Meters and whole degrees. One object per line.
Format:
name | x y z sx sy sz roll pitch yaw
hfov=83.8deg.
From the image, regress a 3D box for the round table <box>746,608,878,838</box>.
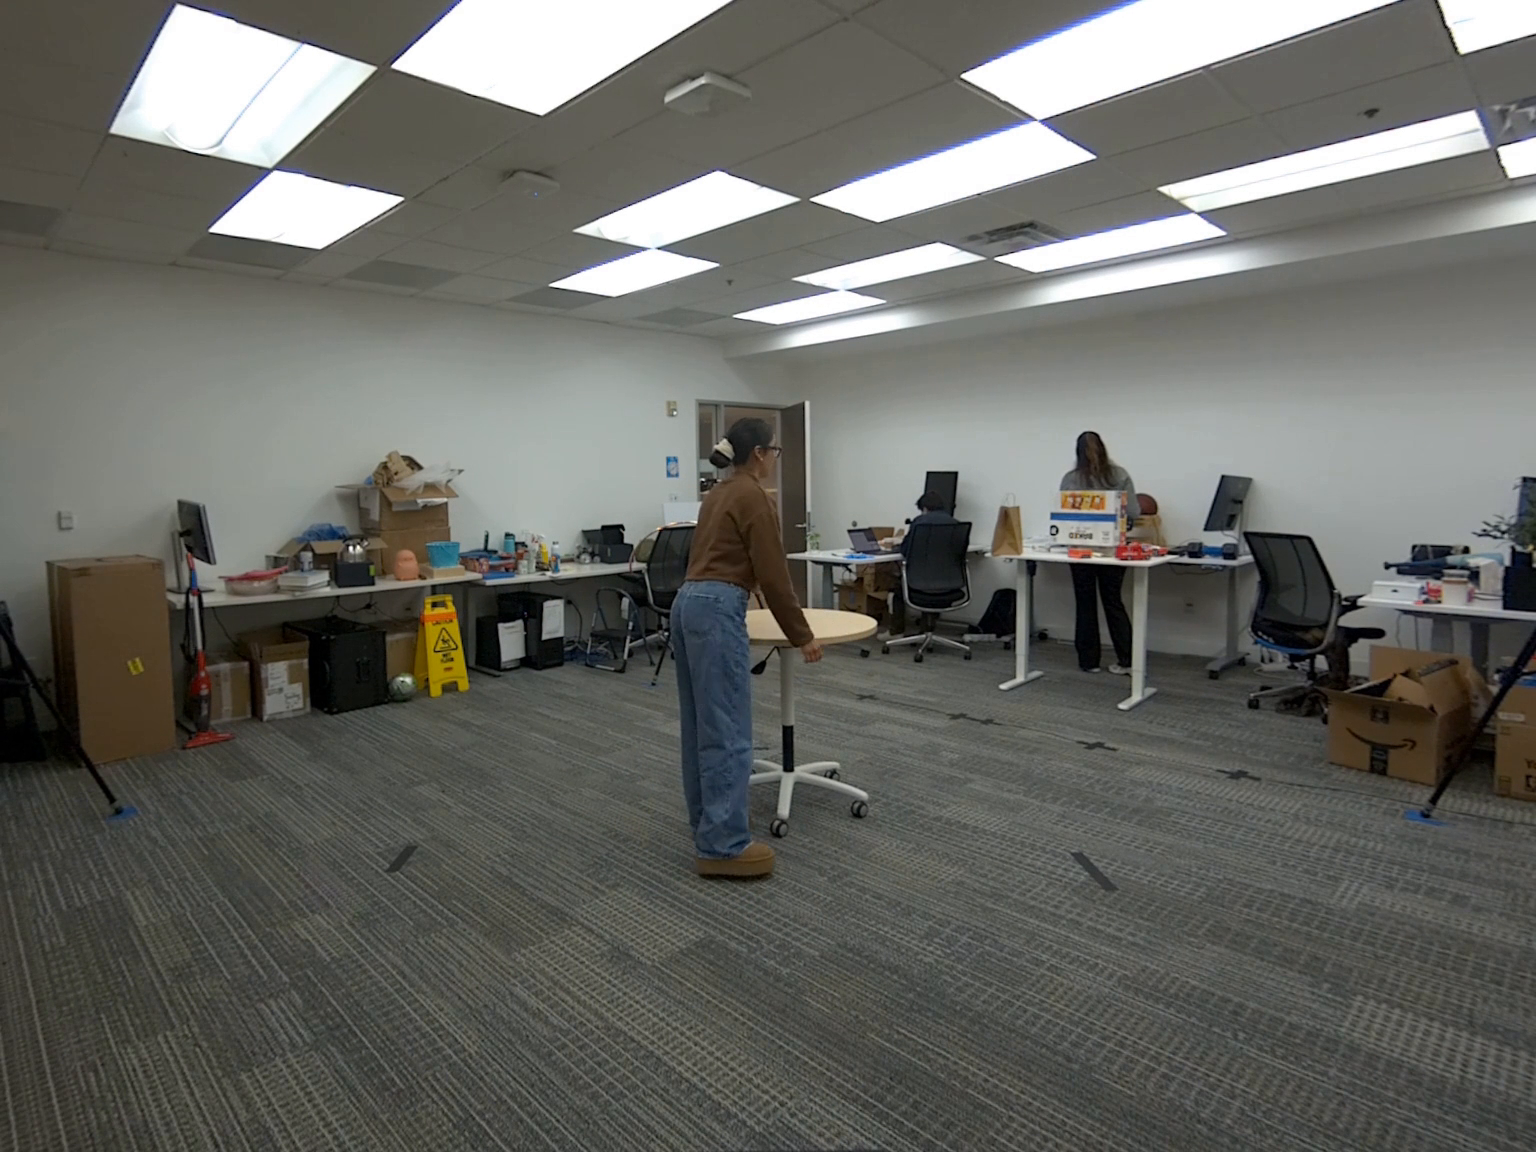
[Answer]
round table | 0.081 0.587 3.674 0.784 0.783 0.789 -1 5 -2
